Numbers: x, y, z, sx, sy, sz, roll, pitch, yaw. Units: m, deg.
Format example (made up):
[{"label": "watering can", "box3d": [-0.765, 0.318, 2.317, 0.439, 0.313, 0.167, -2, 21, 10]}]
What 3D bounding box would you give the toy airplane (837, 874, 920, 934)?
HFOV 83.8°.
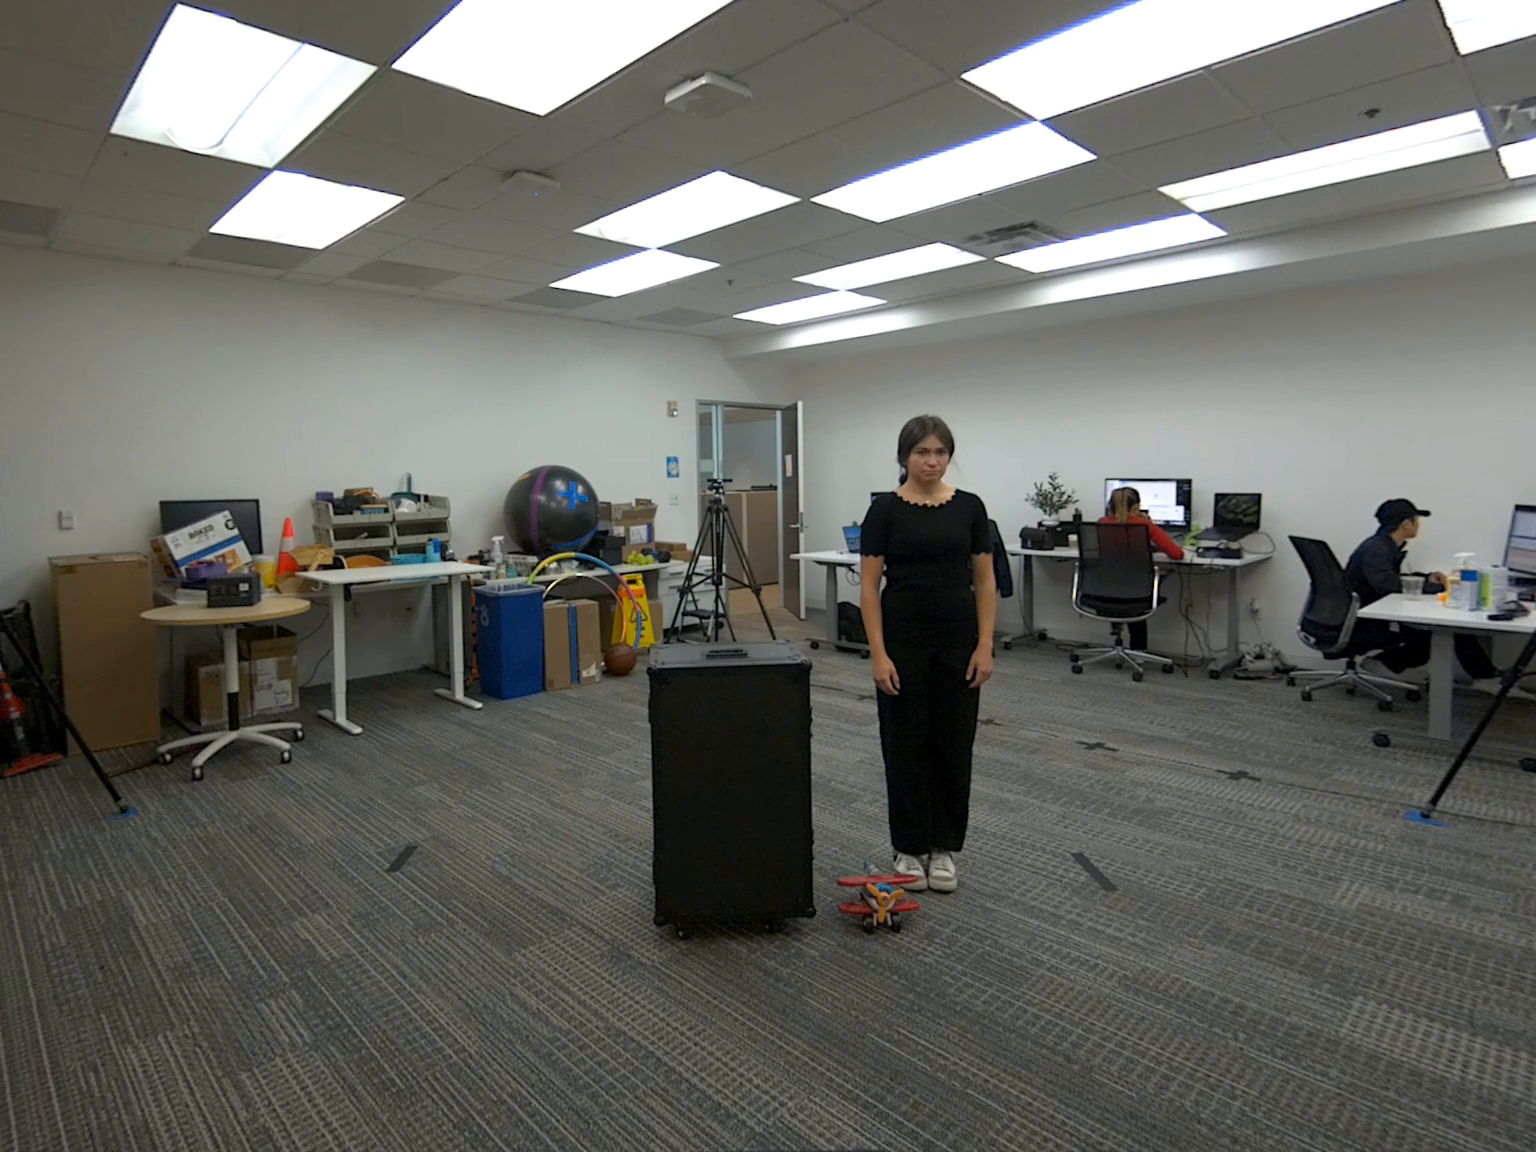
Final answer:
[{"label": "toy airplane", "box3d": [0.322, 1.007, 2.698, 0.245, 0.155, 0.267, -4, 8, -32]}]
